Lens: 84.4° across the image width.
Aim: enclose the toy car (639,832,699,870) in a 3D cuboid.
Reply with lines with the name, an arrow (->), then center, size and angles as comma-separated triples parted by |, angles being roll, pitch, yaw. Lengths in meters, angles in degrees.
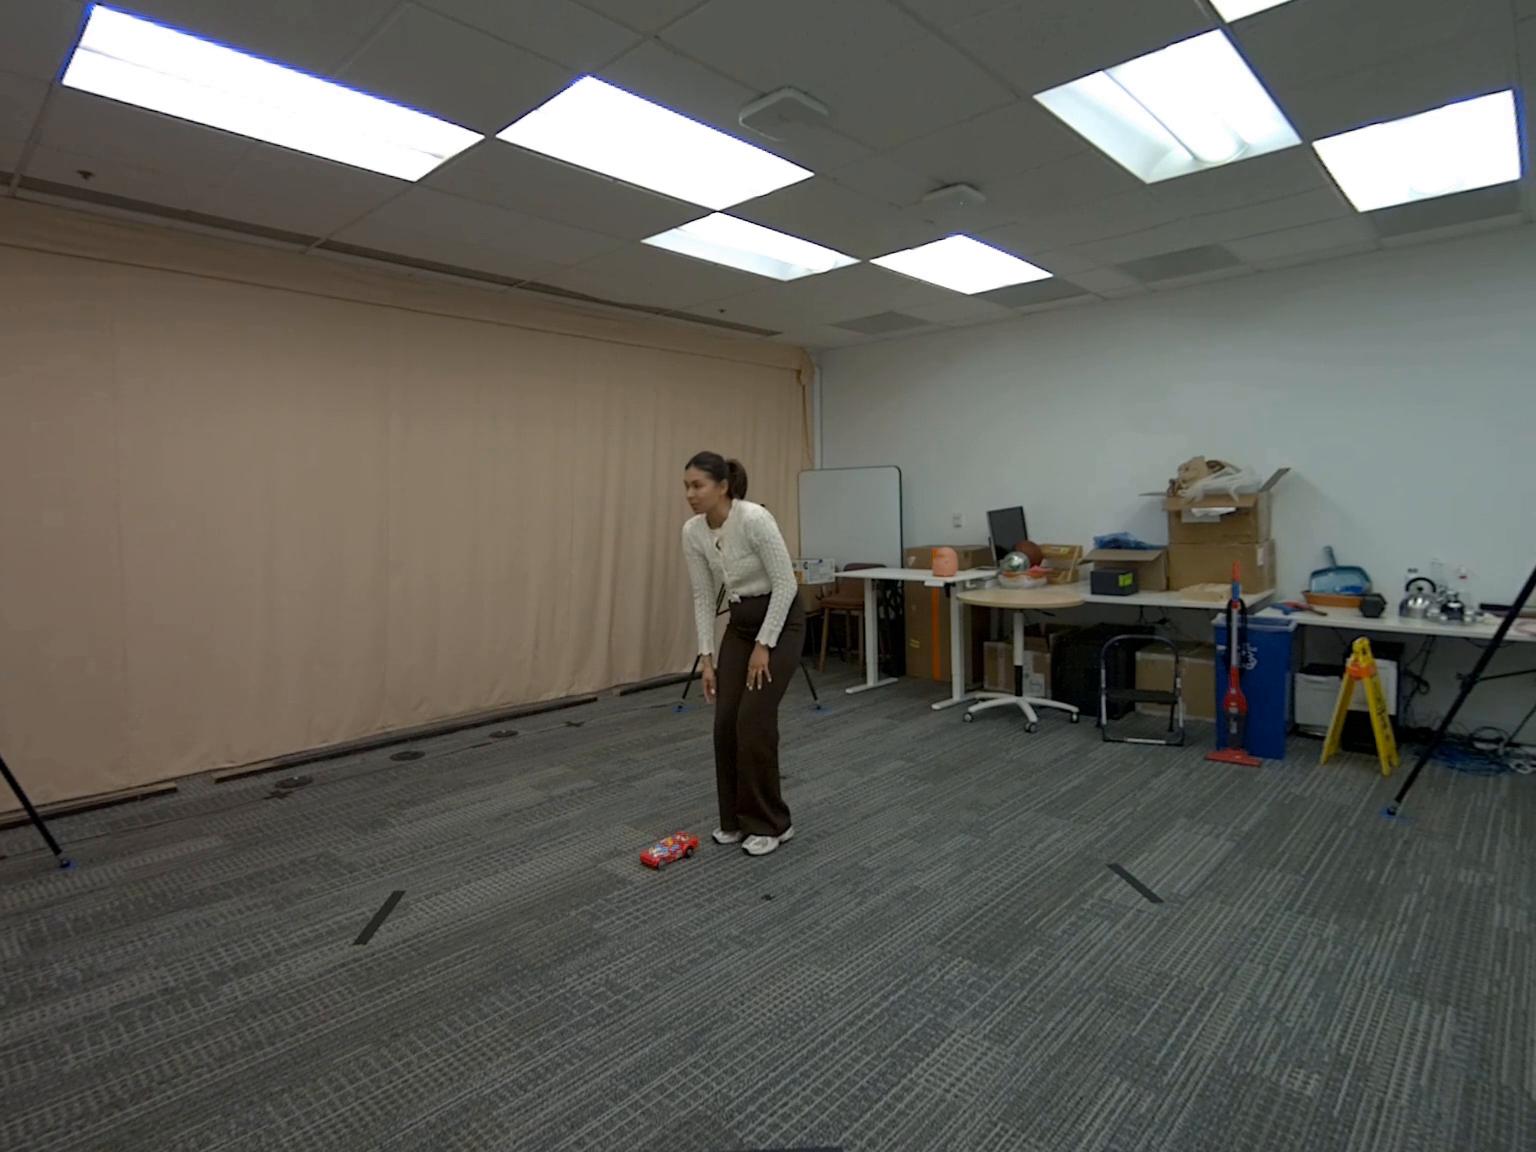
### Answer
toy car -> -0.385, 1.088, 3.322 | 0.134, 0.082, 0.248 | 2, 16, 44
